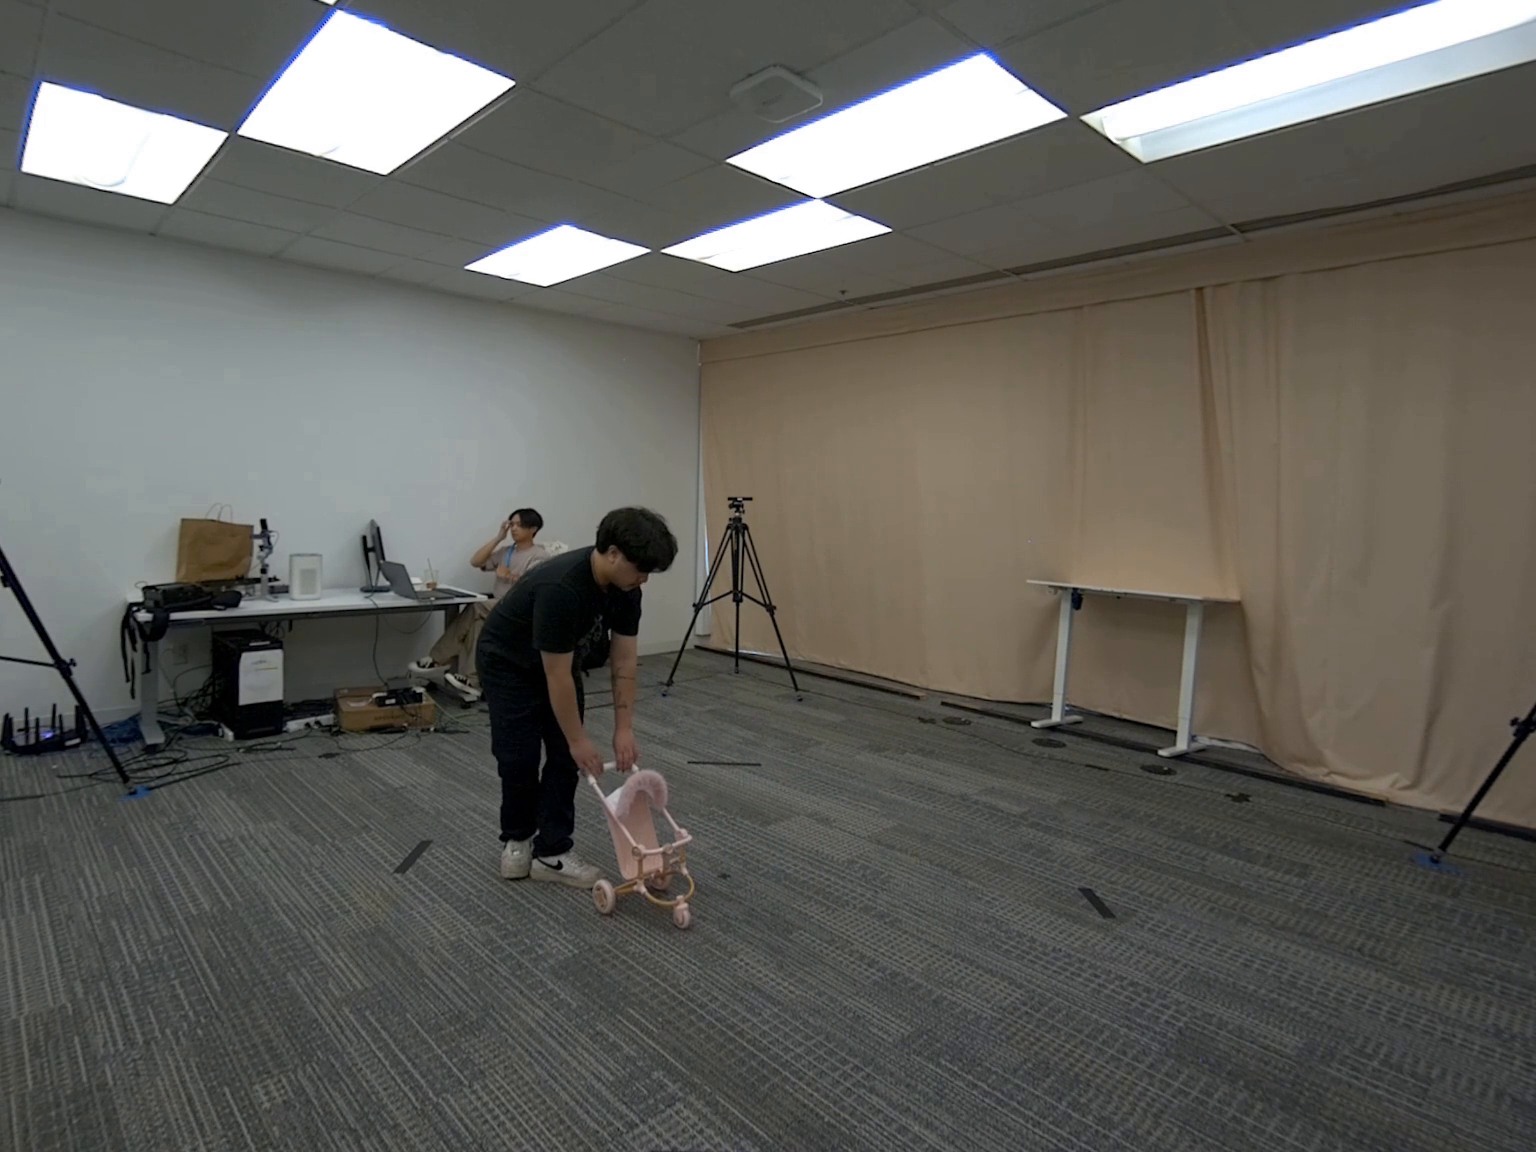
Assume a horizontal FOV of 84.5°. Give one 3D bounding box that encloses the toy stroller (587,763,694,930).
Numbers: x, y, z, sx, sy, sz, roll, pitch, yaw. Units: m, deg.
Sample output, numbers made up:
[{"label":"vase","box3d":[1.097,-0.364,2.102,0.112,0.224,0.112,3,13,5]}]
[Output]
[{"label":"toy stroller","box3d":[-0.418,0.898,2.839,0.275,0.539,0.347,-2,-10,-43]}]
